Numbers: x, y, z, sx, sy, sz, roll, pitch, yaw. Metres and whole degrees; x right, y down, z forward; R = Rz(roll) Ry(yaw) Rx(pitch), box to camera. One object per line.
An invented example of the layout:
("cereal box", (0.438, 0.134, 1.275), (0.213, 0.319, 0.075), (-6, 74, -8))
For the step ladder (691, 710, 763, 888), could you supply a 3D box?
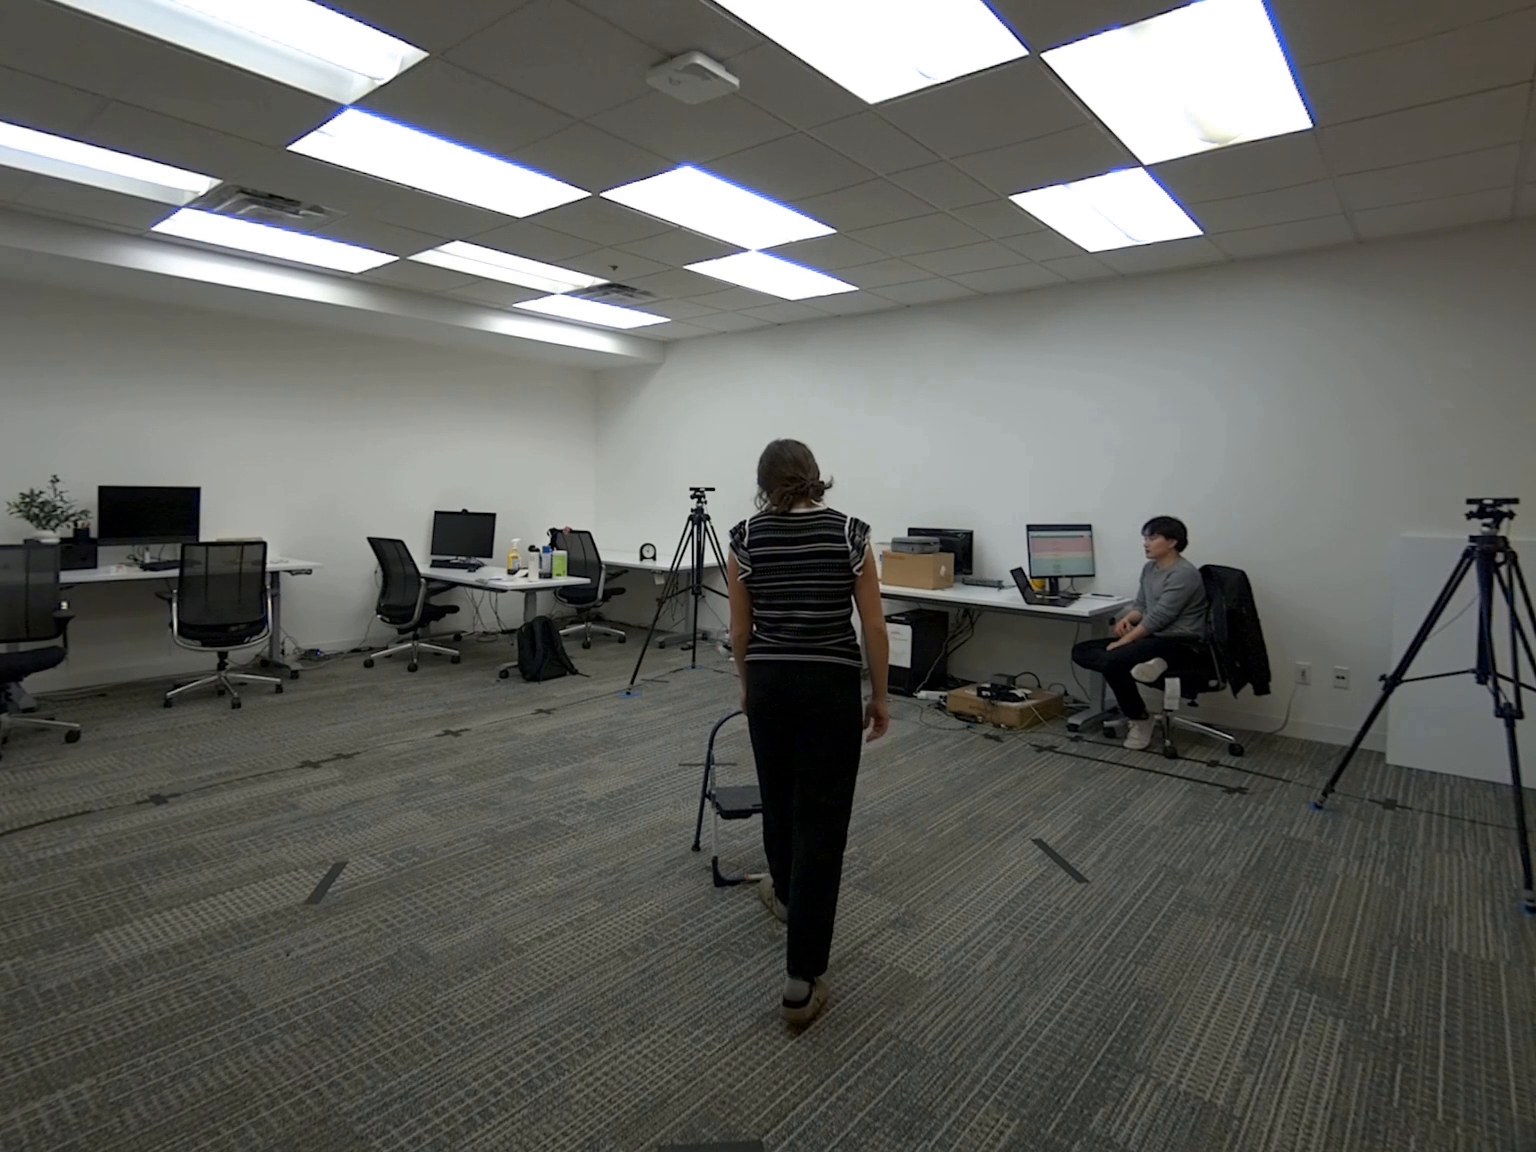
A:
("step ladder", (-0.044, 0.764, 3.159), (0.423, 0.604, 0.356), (0, 4, -16))
